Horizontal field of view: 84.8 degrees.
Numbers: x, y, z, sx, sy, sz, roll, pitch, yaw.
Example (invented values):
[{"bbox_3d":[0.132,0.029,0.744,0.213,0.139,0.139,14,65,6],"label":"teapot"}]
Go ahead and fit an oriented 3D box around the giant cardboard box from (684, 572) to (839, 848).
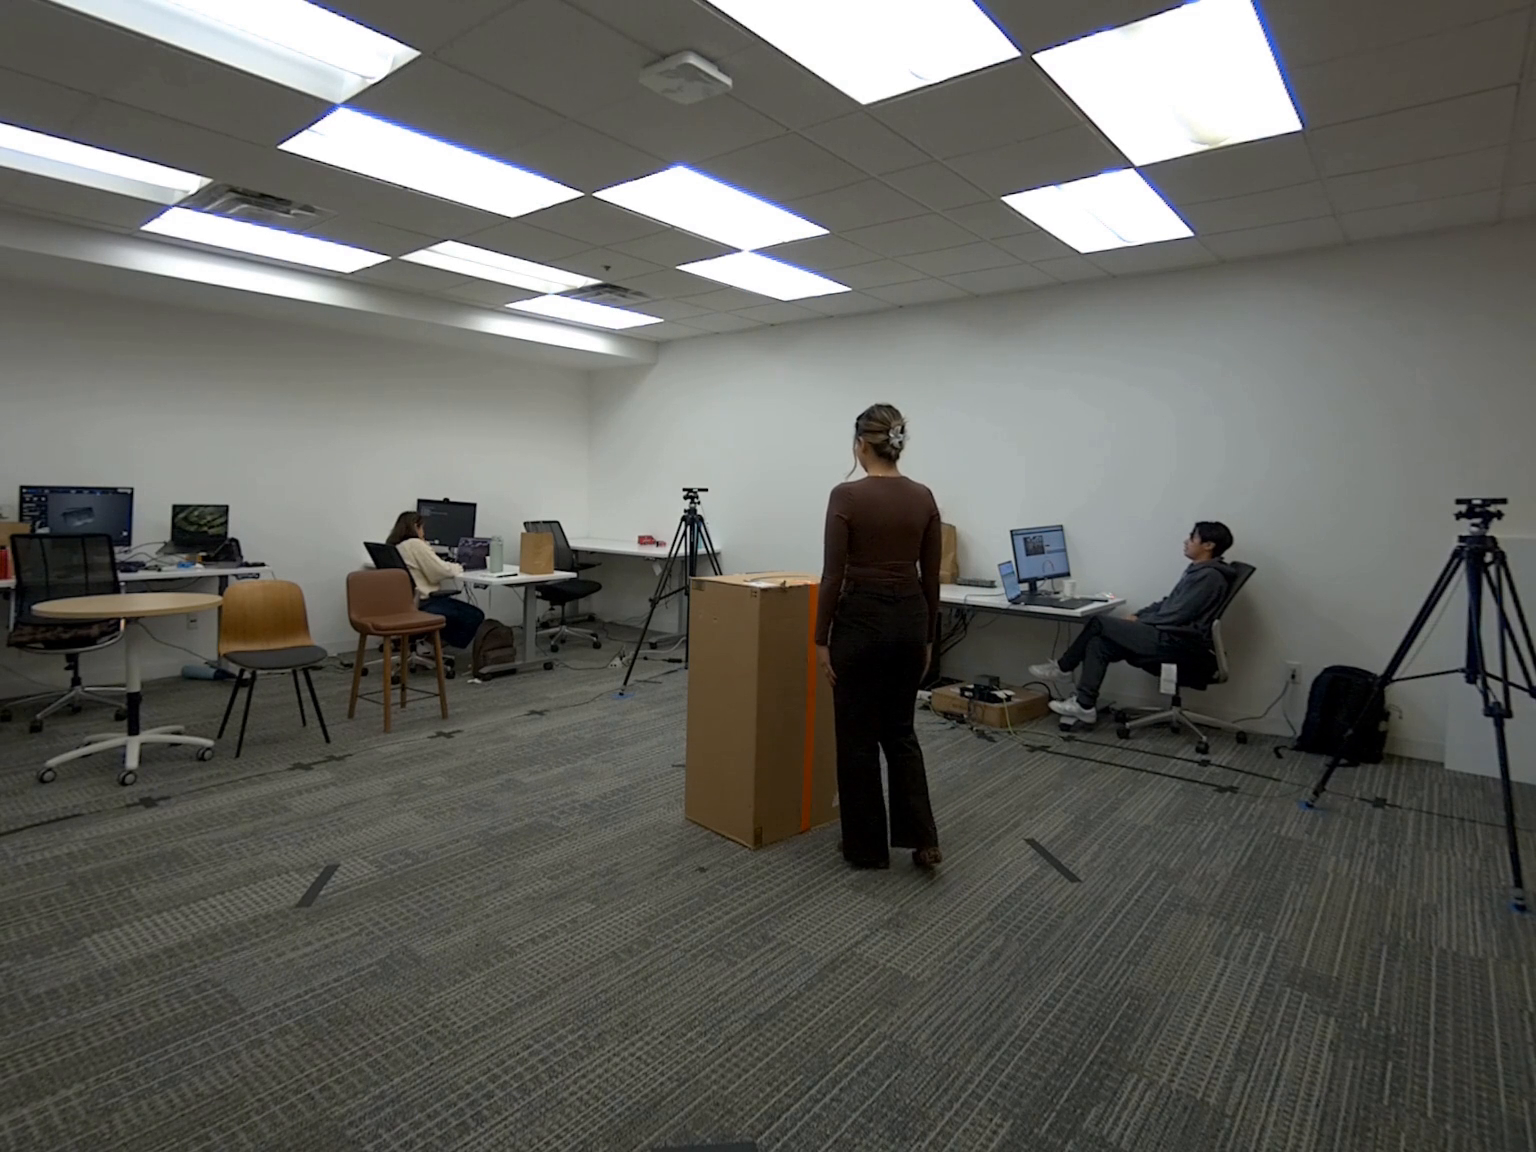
[{"bbox_3d":[-0.004,0.515,3.604,0.566,1.024,0.462,-2,5,-43],"label":"giant cardboard box"}]
